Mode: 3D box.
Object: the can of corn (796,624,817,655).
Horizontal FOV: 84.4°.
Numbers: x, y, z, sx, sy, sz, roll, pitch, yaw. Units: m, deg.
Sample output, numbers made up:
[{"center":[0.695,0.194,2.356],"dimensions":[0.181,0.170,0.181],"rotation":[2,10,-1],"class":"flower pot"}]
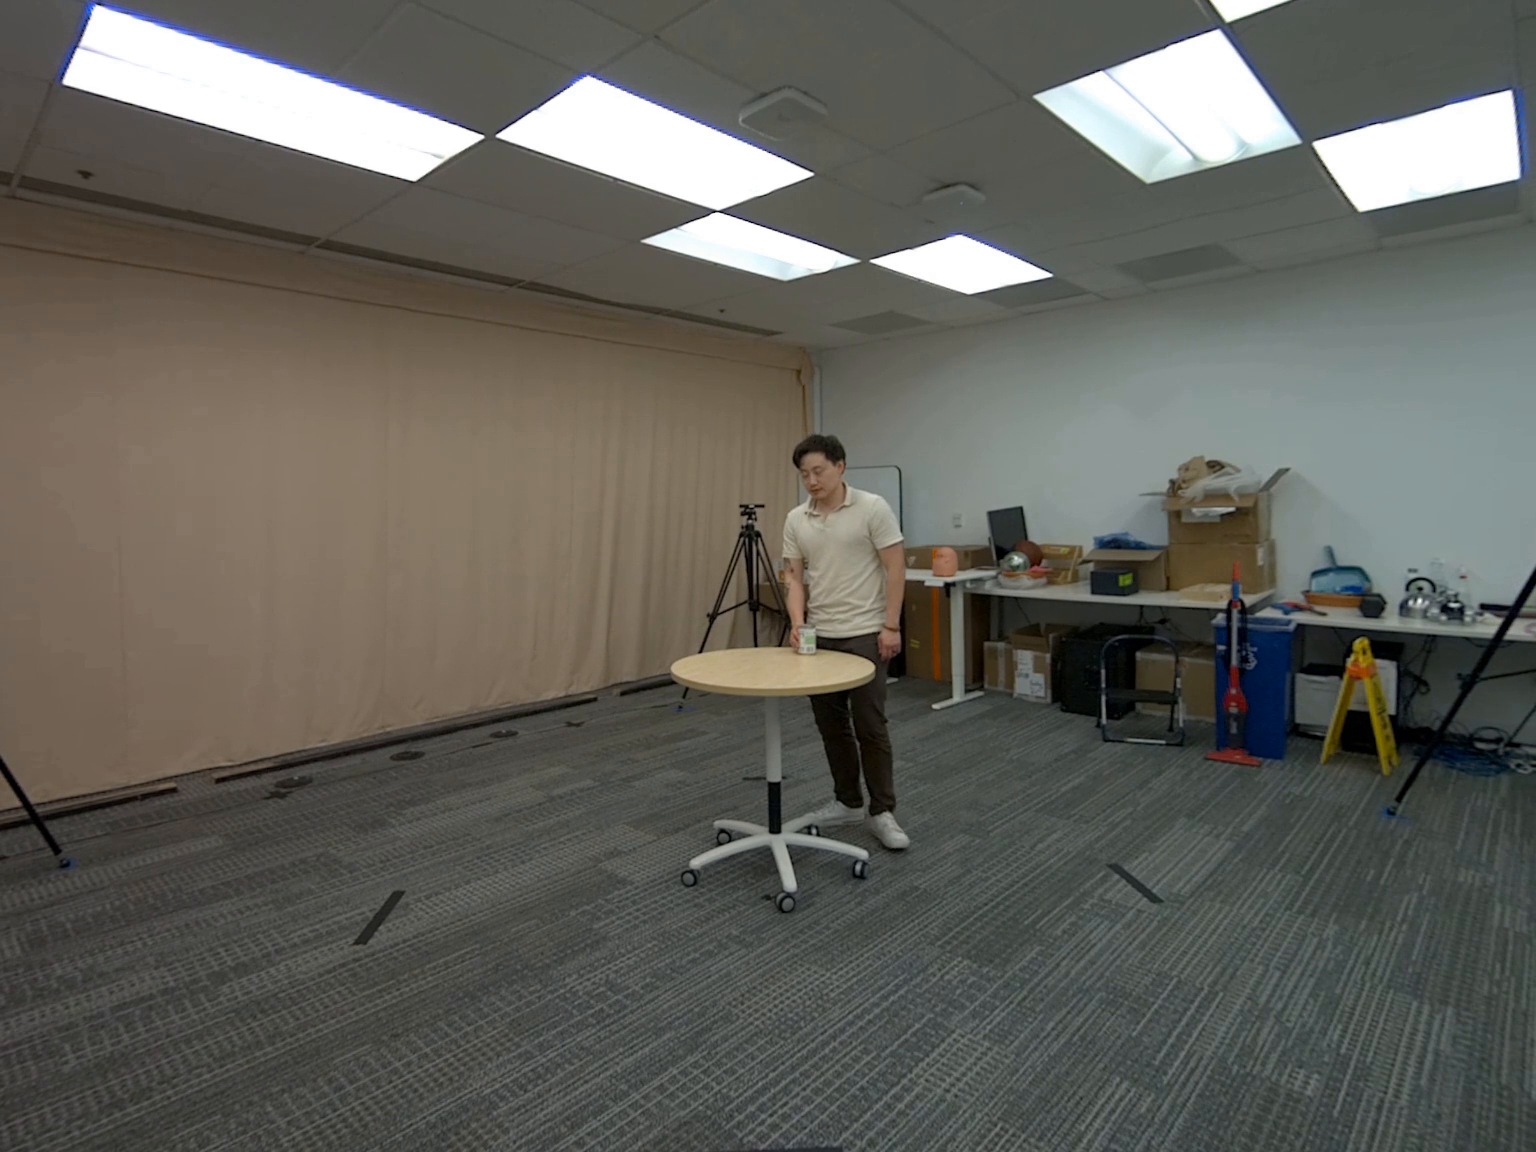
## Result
[{"center":[0.163,0.257,3.405],"dimensions":[0.074,0.111,0.074],"rotation":[-1,0,-2],"class":"can of corn"}]
